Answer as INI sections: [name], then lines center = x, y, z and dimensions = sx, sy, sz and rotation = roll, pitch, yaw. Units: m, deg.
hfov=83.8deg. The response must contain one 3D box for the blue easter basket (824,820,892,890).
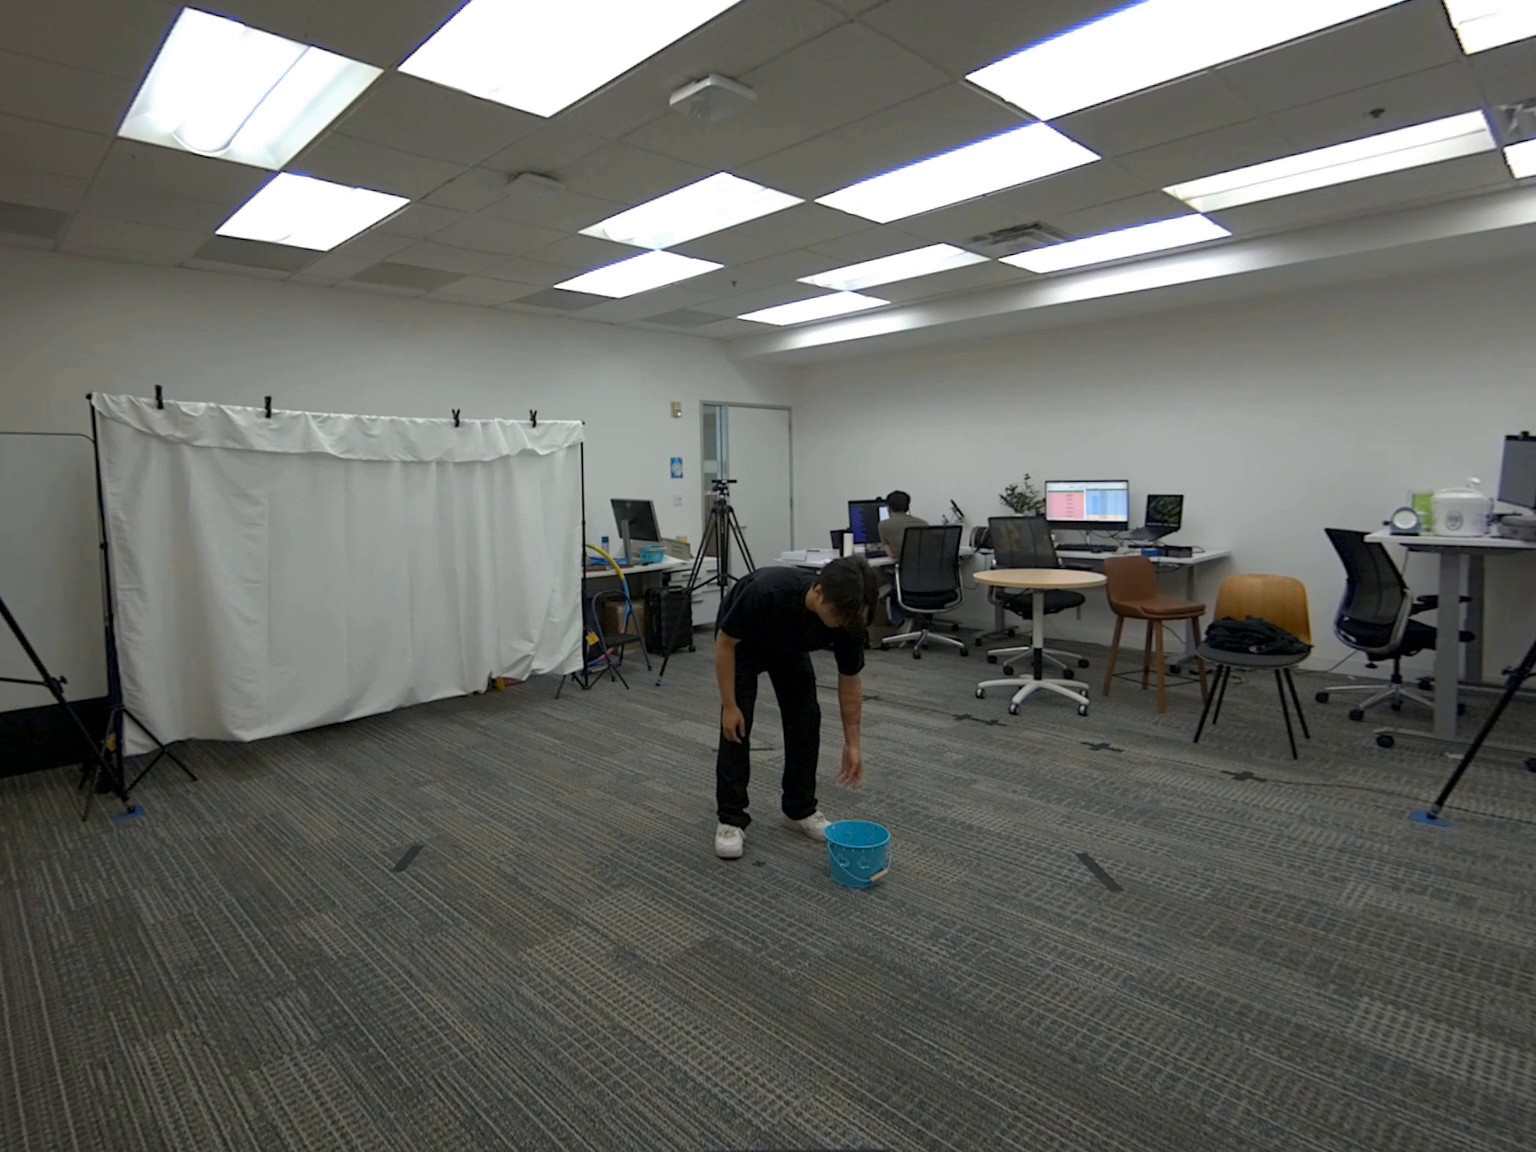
[blue easter basket]
center = 0.316, 0.975, 2.991
dimensions = 0.243, 0.155, 0.245
rotation = -1, 5, -2
